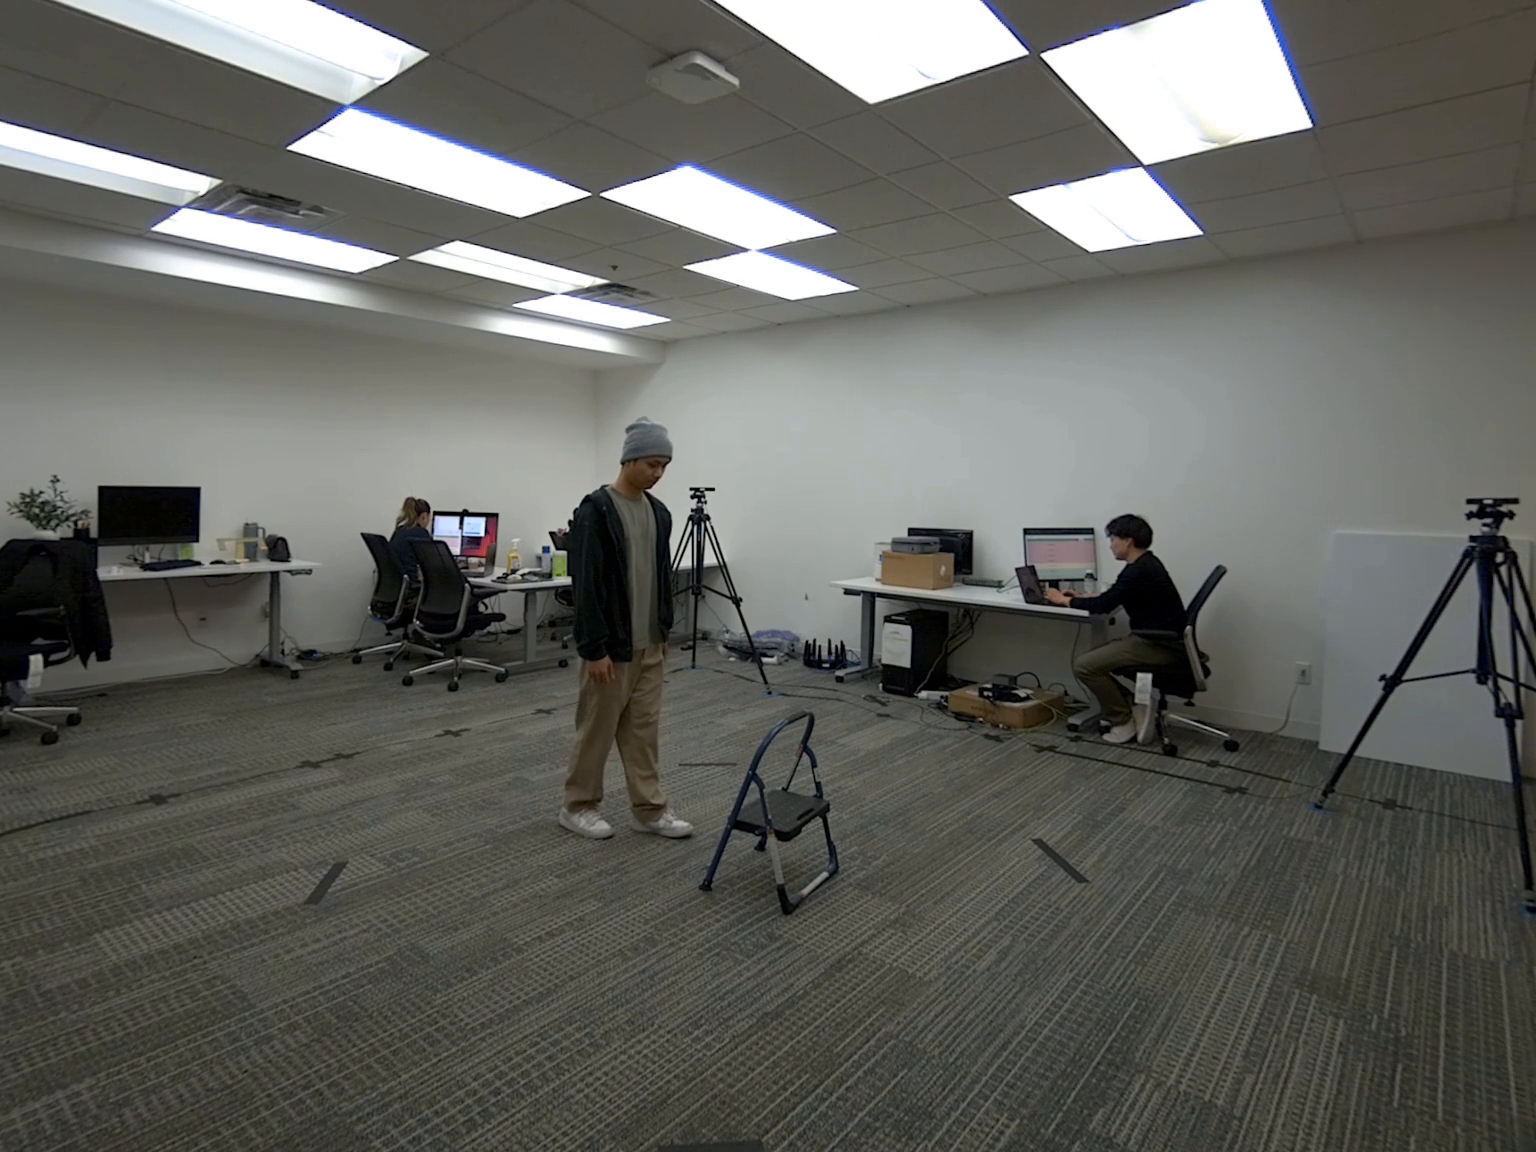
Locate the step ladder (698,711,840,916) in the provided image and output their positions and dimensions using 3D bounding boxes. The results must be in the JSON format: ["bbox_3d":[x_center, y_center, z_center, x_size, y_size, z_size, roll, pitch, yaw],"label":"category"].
[{"bbox_3d":[0.012,0.776,3.018,0.359,0.604,0.420,3,4,29],"label":"step ladder"}]
